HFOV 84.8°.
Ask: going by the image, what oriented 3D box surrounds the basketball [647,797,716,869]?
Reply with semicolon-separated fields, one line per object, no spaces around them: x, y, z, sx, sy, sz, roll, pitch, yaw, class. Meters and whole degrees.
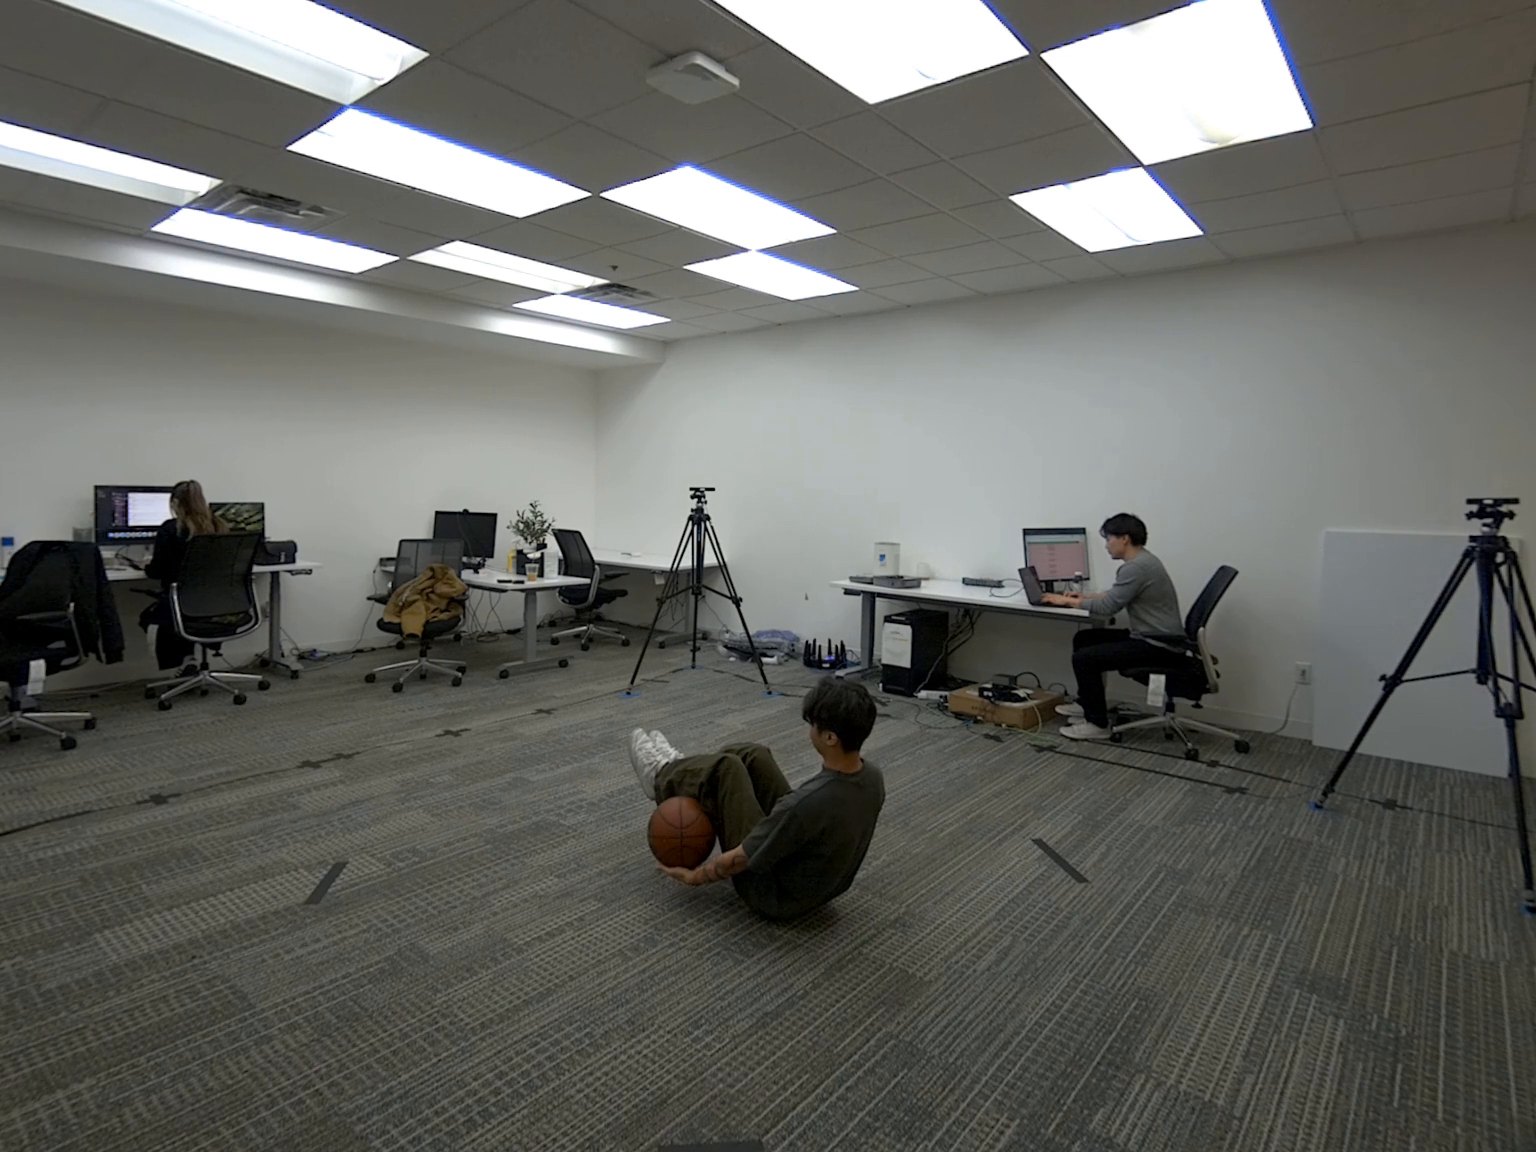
-0.307;0.869;2.912;0.235;0.235;0.237;1;4;-2;basketball
